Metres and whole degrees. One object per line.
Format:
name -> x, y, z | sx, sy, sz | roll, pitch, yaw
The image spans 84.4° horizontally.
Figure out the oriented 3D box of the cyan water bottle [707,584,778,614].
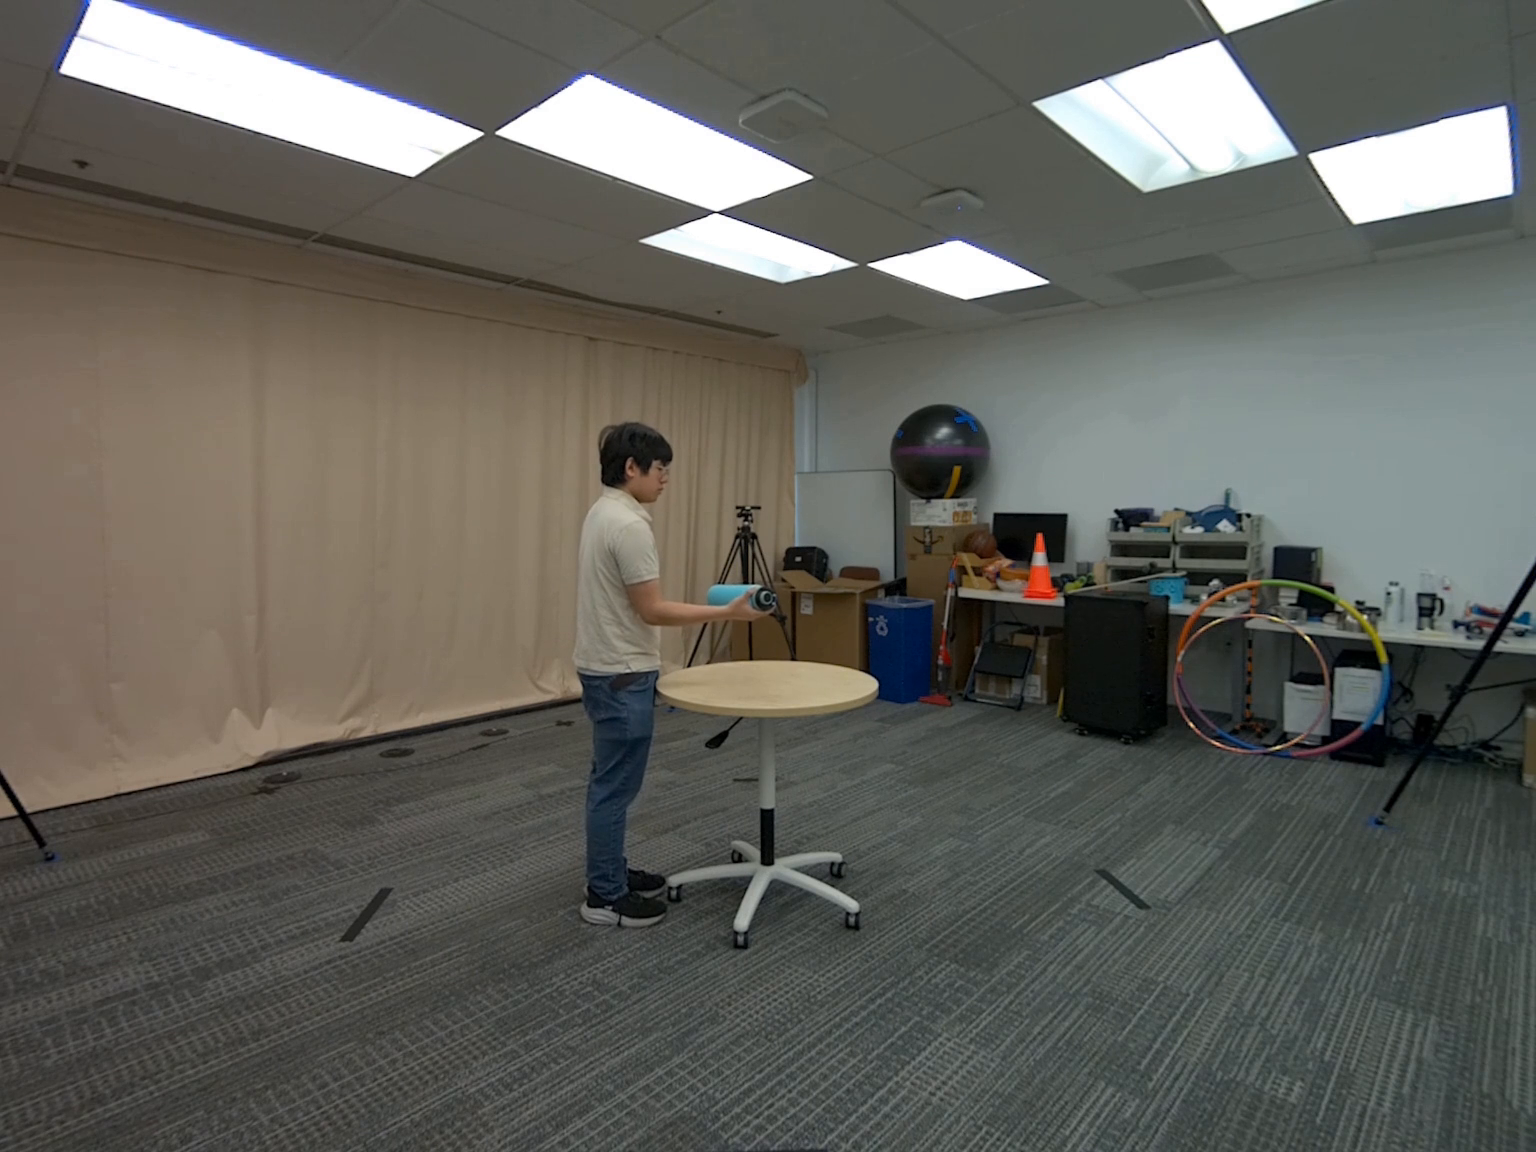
cyan water bottle -> -0.078, 0.074, 2.797 | 0.089, 0.092, 0.292 | -3, 2, -43
